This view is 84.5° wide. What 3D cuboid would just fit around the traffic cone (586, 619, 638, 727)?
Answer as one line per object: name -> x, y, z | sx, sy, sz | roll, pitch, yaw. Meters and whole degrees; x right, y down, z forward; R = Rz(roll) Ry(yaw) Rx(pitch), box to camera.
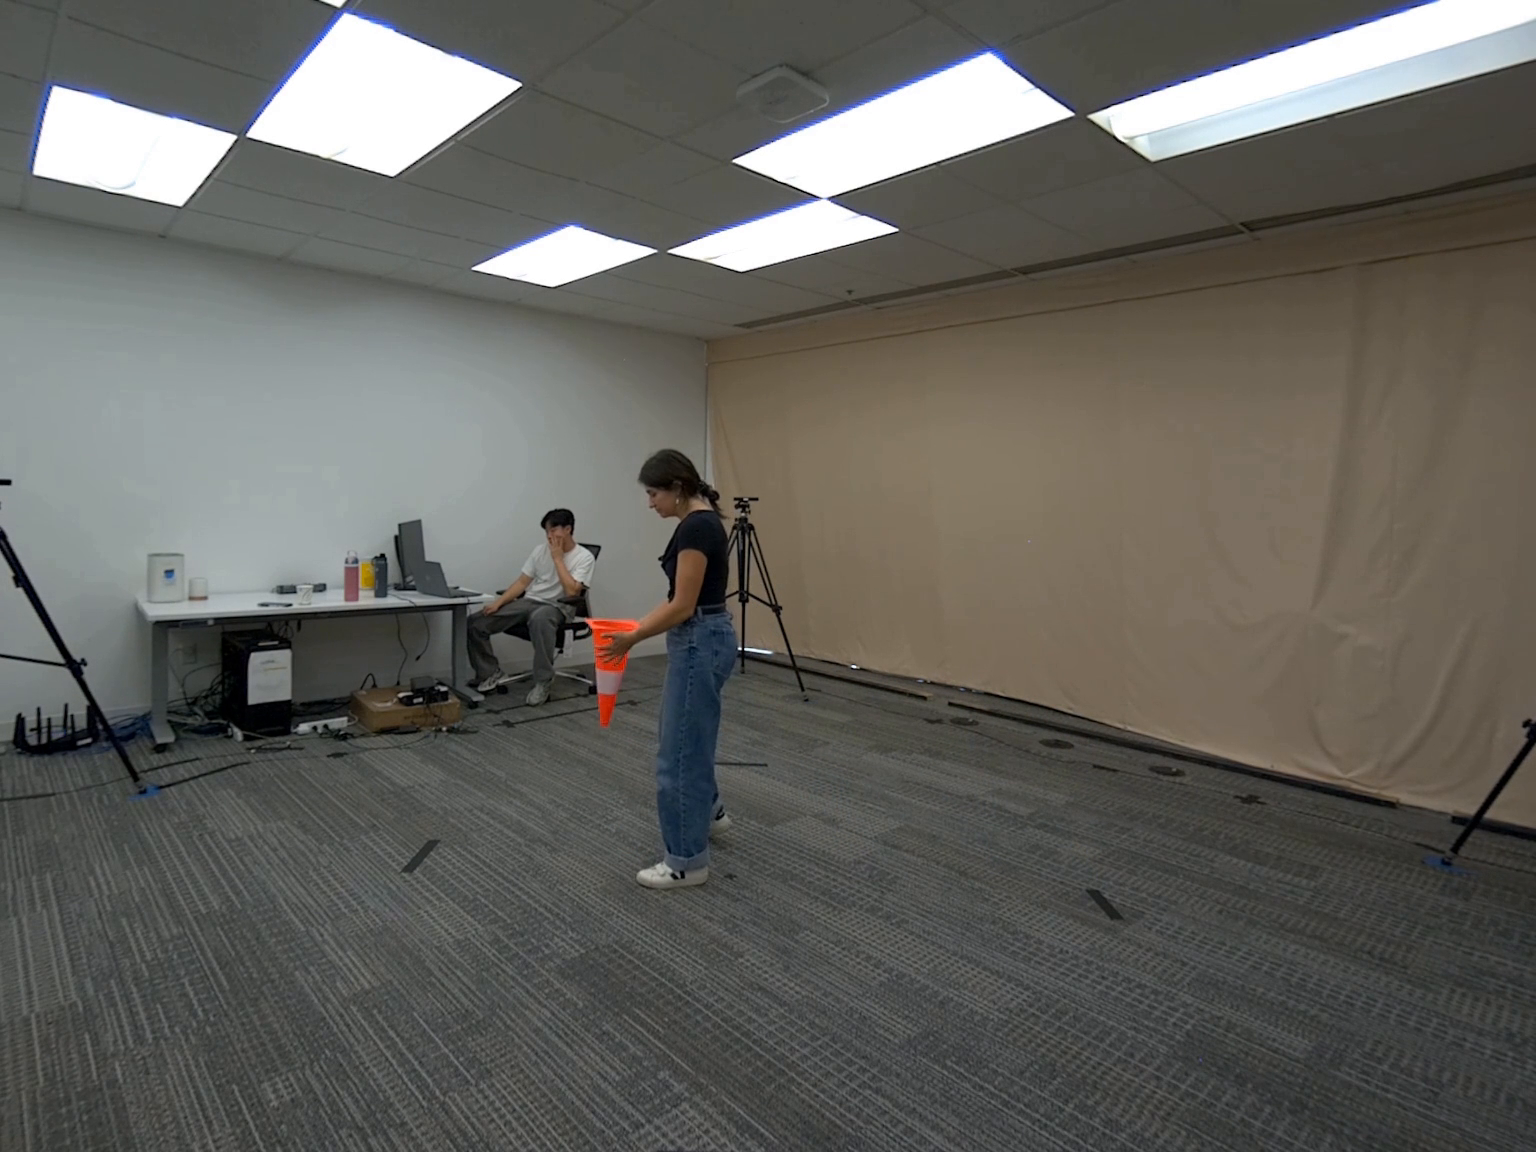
traffic cone -> -0.590, 0.366, 3.109 | 0.201, 0.383, 0.207 | 4, 2, -24
